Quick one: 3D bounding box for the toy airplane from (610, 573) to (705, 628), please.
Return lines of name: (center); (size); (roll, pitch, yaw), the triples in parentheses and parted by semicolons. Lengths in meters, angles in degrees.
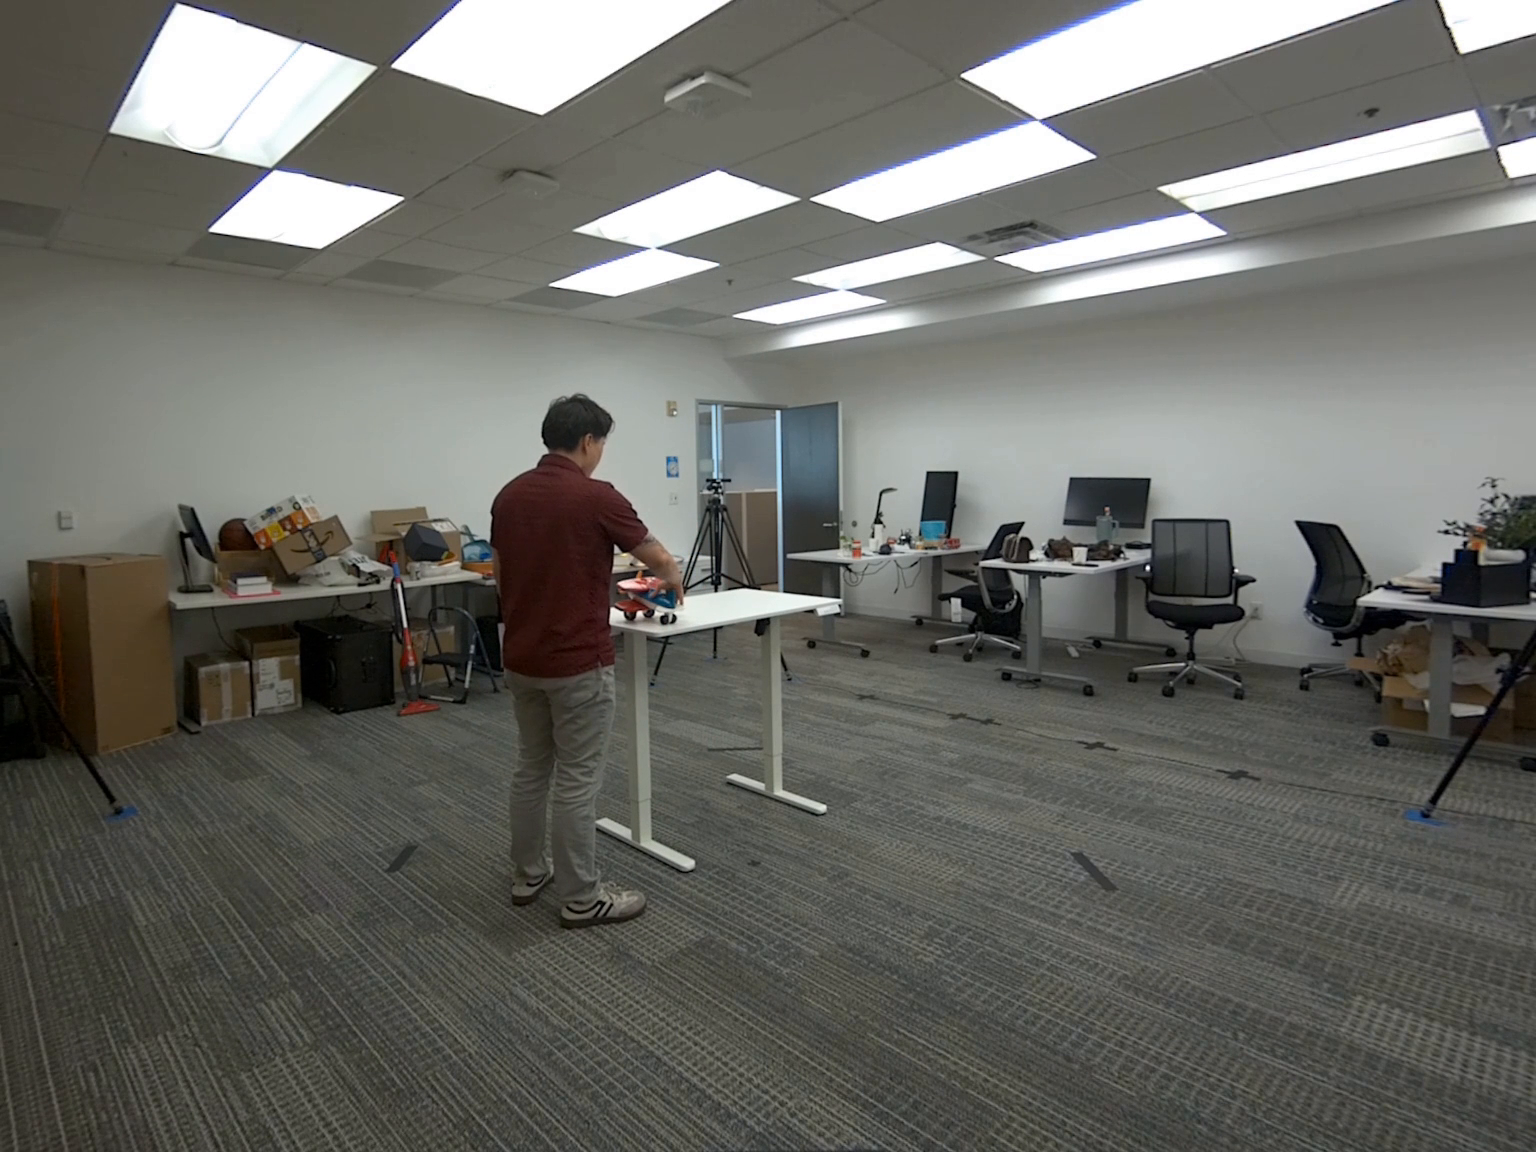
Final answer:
toy airplane: (-0.404, 0.086, 3.149); (0.264, 0.156, 0.248); (-2, 6, 19)
